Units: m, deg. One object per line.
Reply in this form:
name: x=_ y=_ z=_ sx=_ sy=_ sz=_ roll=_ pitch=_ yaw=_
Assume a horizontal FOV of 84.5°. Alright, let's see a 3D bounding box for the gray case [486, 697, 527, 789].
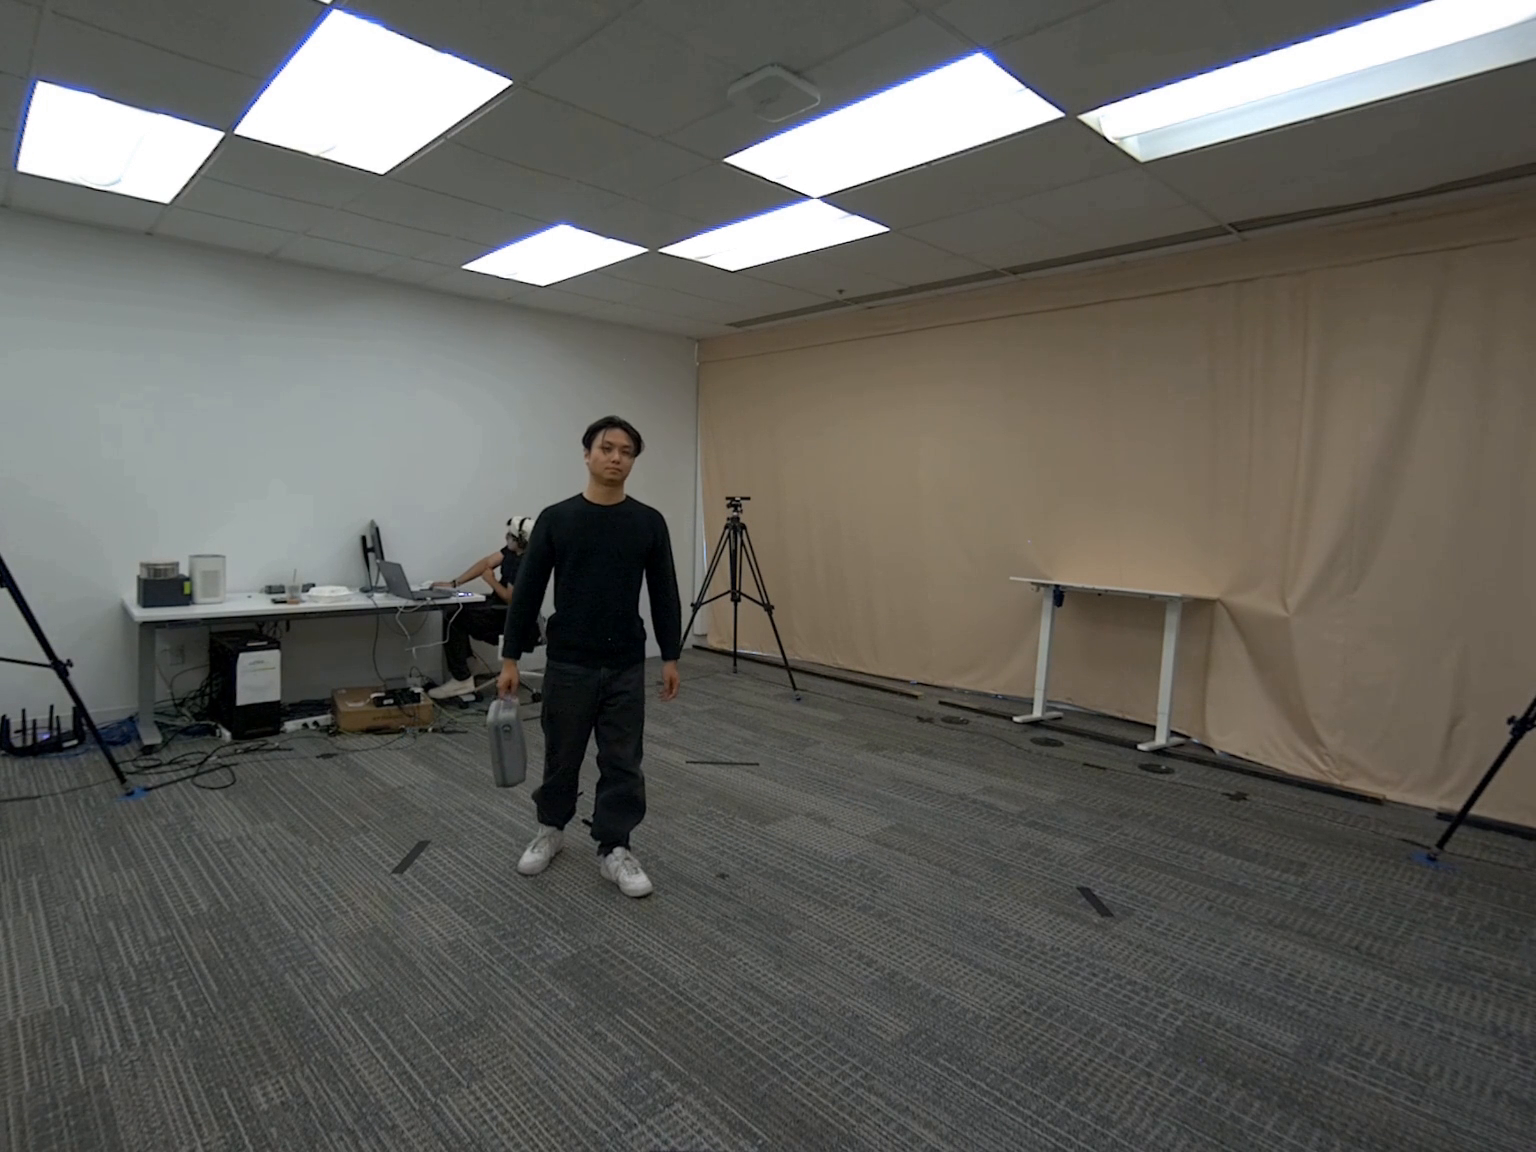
gray case: x=-0.914 y=0.572 z=2.925 sx=0.103 sy=0.259 sz=0.261 roll=-5 pitch=7 yaw=-15
